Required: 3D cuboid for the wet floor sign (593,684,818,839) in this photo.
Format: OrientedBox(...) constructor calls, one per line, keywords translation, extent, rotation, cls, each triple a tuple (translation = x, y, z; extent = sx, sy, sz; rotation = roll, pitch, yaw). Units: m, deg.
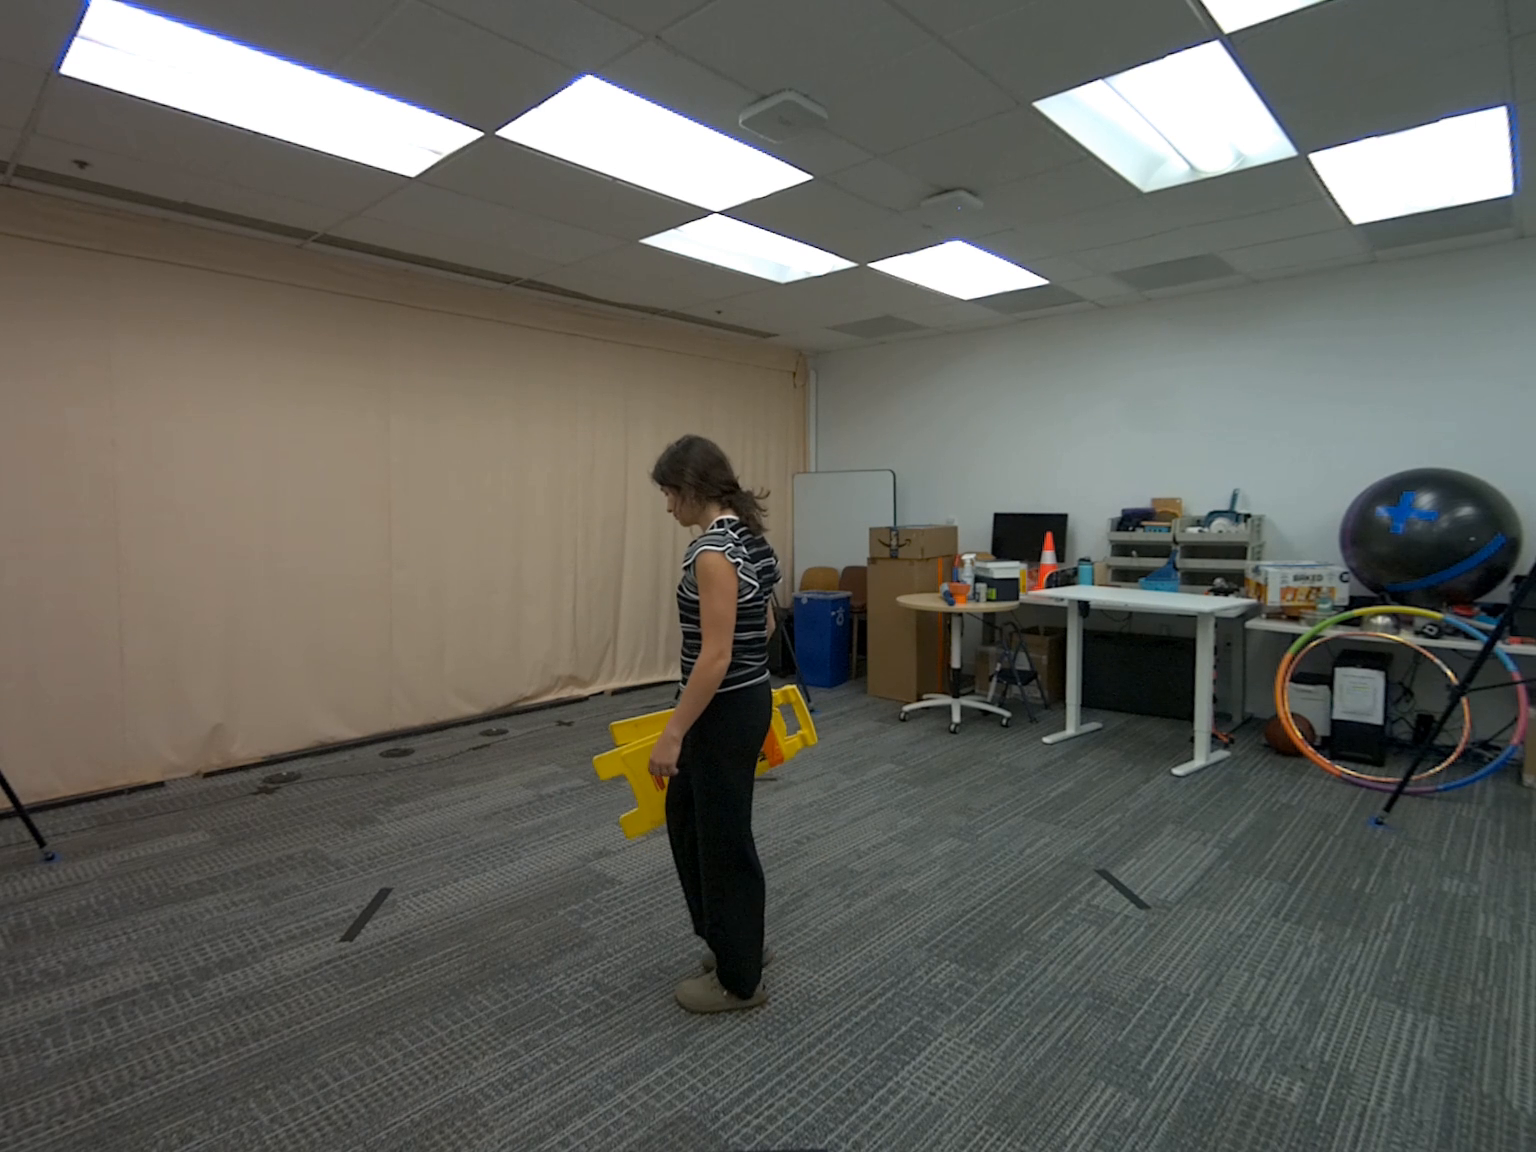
OrientedBox(translation=(-0.176, 0.538, 2.636), extent=(0.649, 0.280, 0.290), rotation=(-21, 8, 6), cls="wet floor sign")
